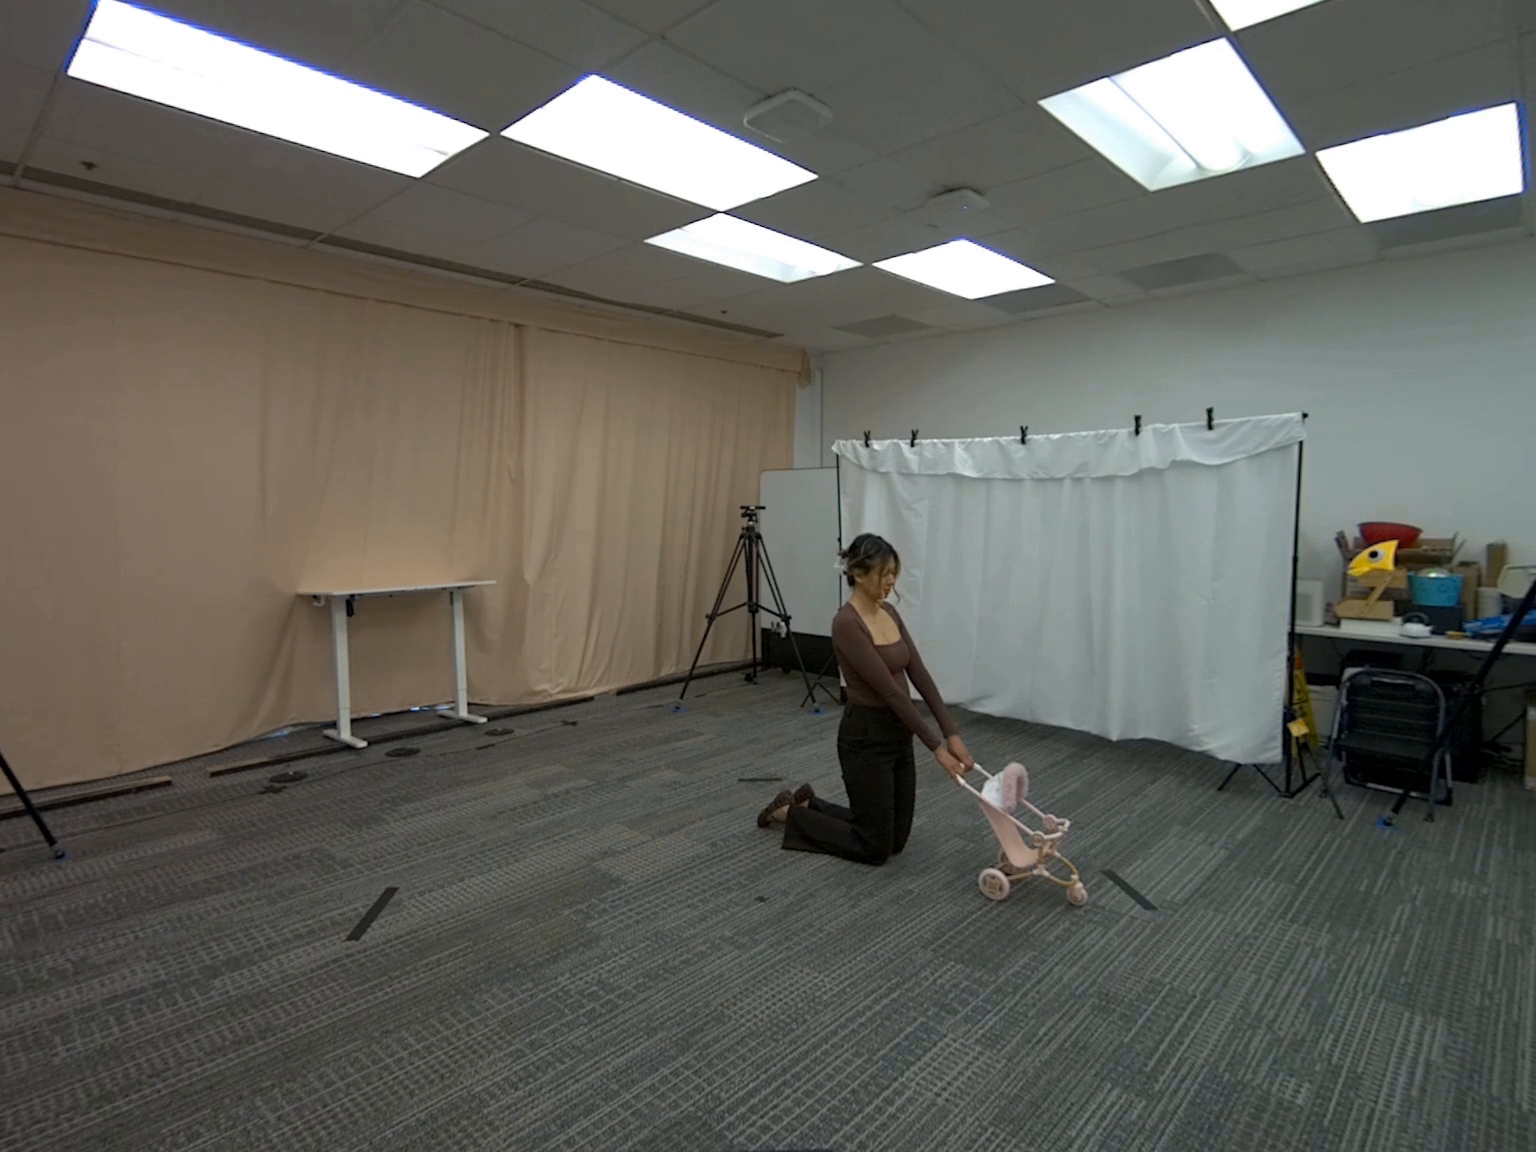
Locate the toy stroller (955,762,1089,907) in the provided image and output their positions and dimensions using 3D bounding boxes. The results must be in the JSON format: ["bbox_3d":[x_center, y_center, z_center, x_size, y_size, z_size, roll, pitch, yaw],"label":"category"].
[{"bbox_3d":[0.917,0.915,3.026,0.349,0.538,0.273,-20,-9,37],"label":"toy stroller"}]
